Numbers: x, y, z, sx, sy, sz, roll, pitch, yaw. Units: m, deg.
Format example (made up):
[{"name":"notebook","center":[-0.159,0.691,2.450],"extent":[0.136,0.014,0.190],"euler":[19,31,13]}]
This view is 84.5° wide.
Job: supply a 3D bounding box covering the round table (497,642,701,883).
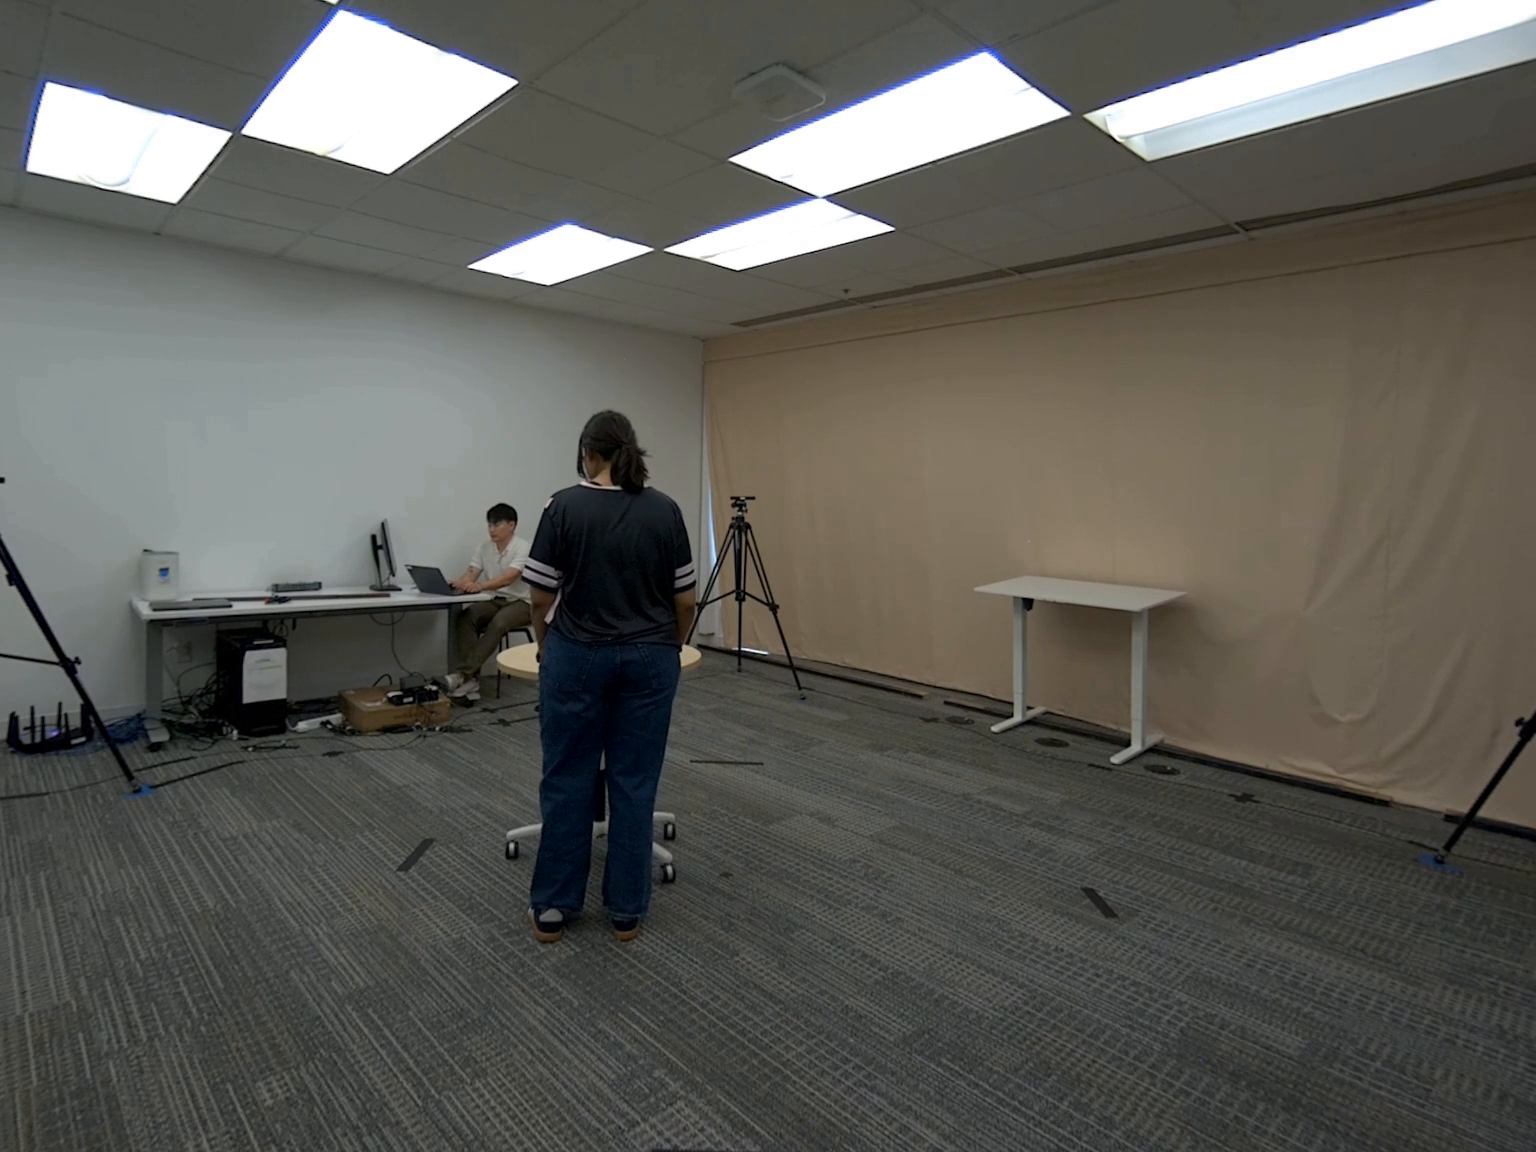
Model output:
[{"name":"round table","center":[-0.644,0.698,3.226],"extent":[0.763,0.792,0.767],"euler":[1,4,-1]}]
